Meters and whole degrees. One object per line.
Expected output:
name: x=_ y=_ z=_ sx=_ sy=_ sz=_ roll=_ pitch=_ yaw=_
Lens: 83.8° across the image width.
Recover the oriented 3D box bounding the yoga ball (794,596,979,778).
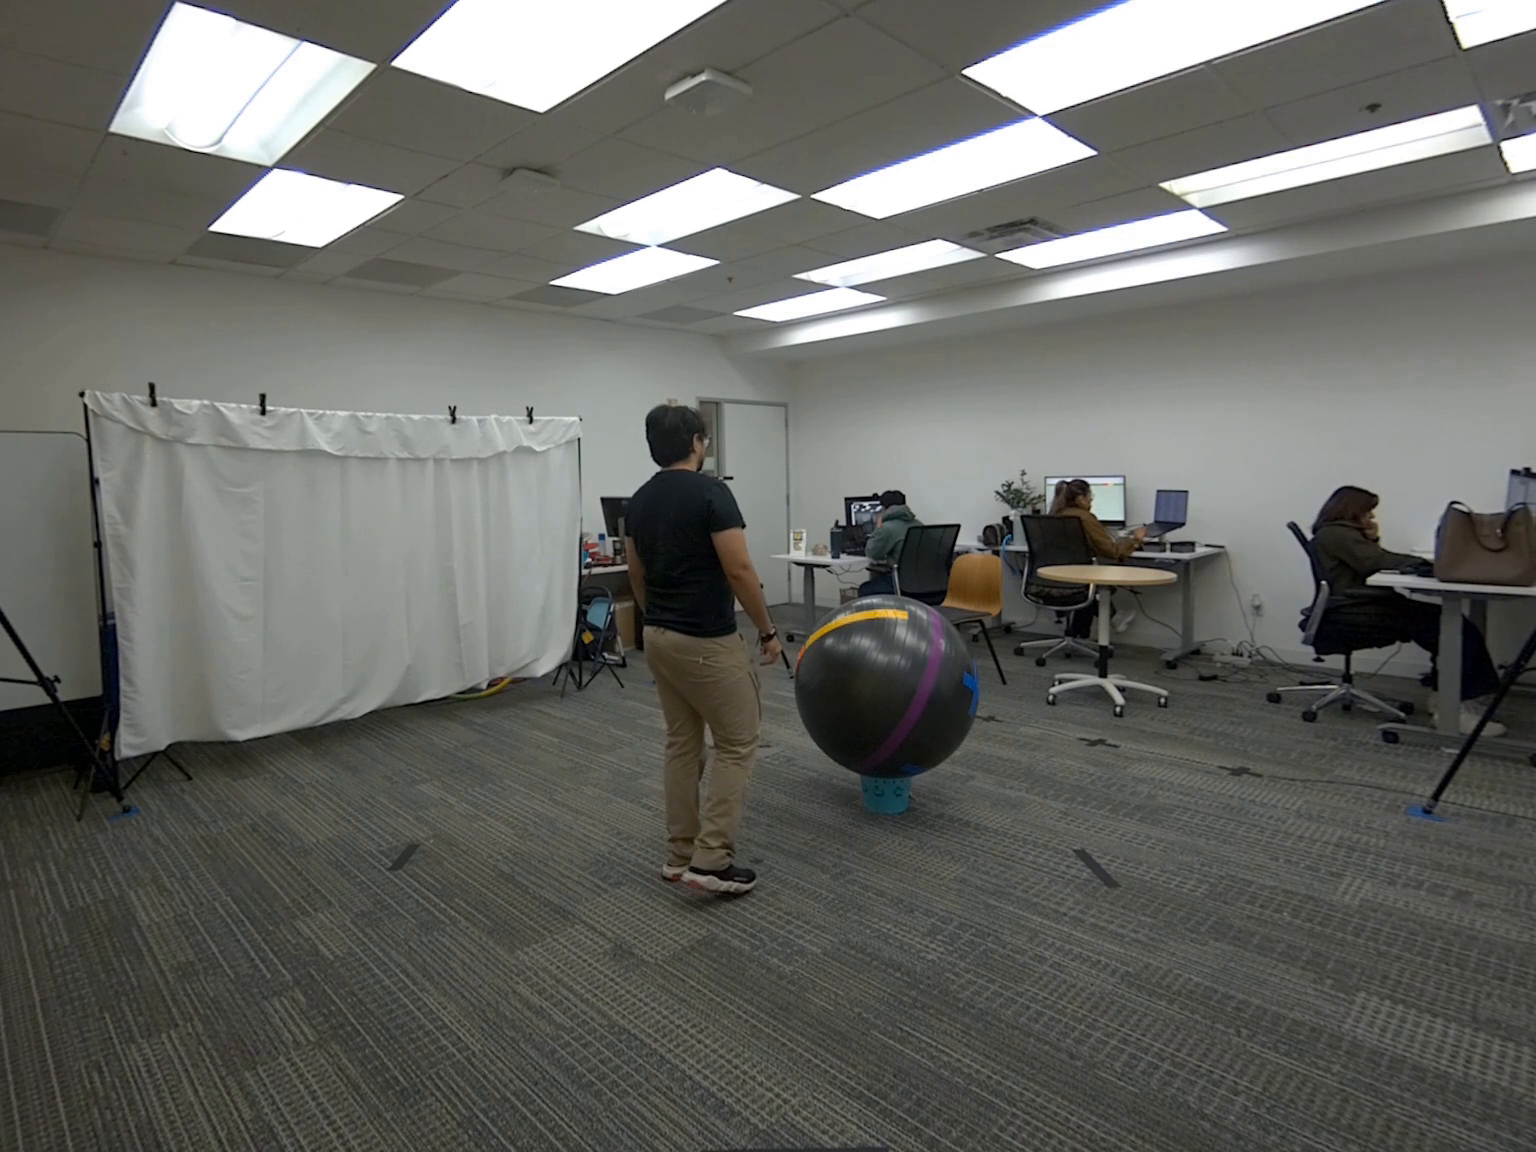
yoga ball: x=0.488 y=0.461 z=3.581 sx=0.757 sy=0.755 sz=0.762 roll=-1 pitch=5 yaw=-2
